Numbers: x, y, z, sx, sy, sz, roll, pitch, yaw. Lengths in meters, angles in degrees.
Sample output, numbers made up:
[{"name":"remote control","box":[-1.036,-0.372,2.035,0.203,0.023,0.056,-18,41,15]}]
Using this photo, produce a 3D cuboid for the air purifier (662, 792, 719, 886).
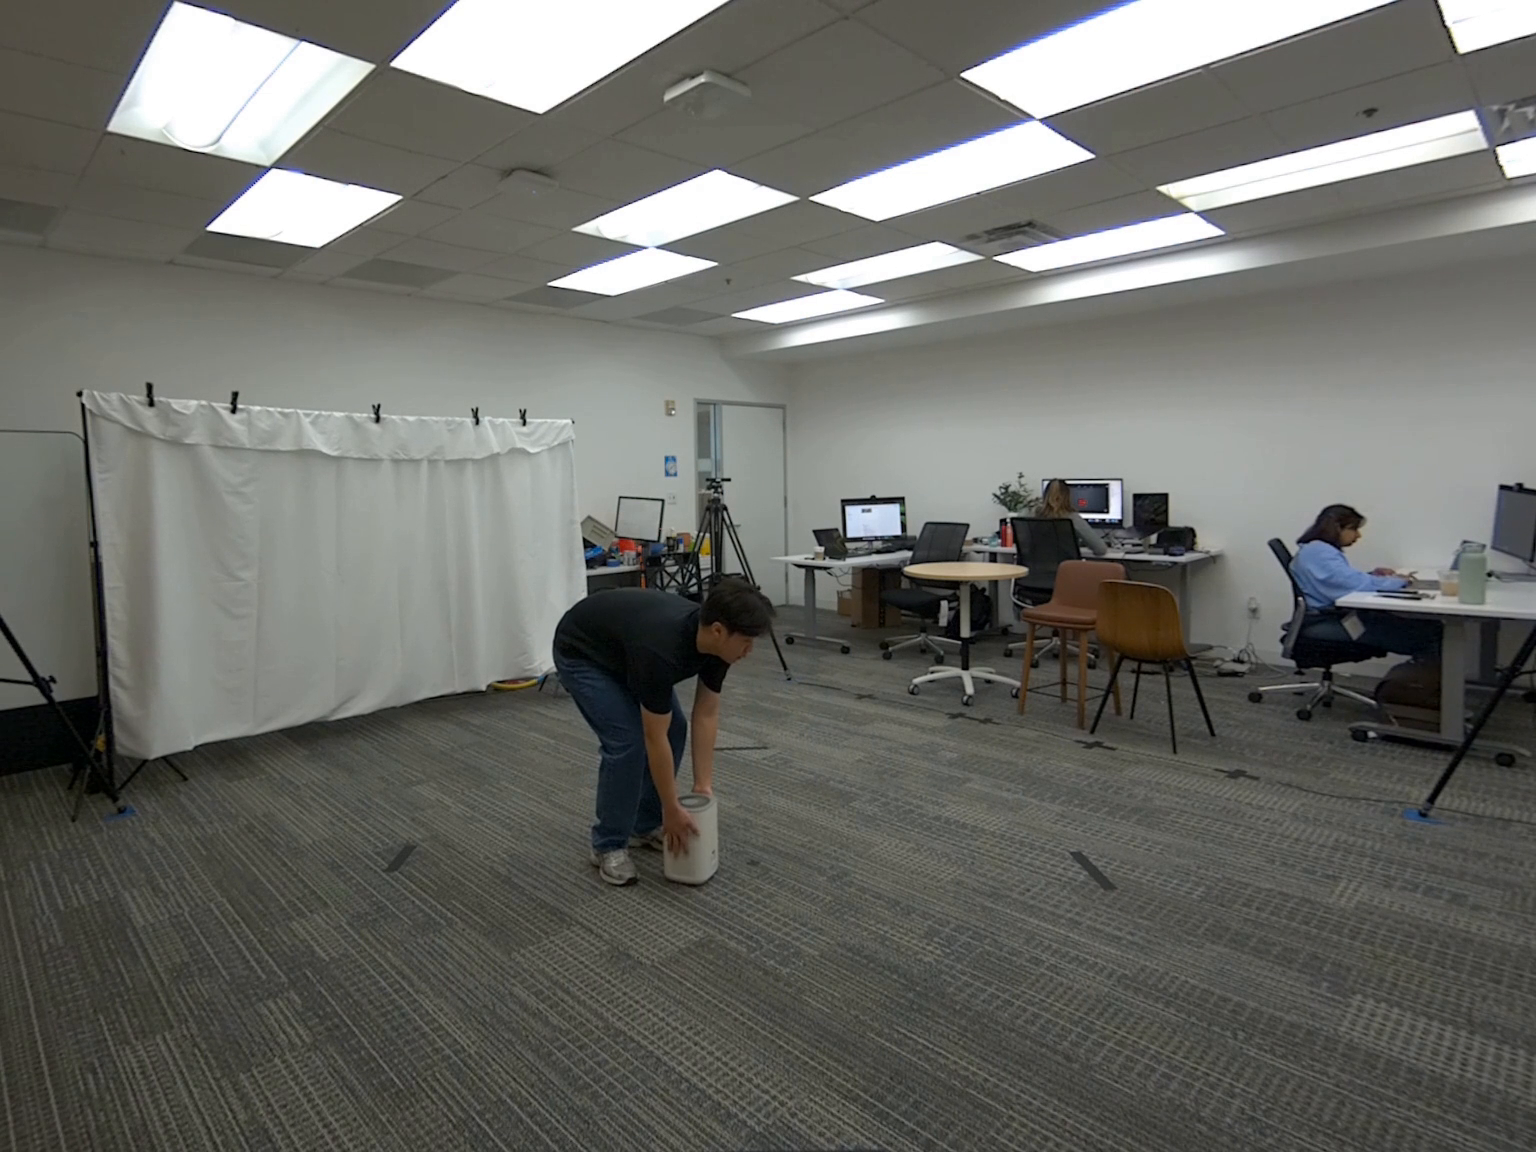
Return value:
[{"name":"air purifier","box":[-0.269,0.915,3.003,0.175,0.264,0.168,1,4,20]}]
